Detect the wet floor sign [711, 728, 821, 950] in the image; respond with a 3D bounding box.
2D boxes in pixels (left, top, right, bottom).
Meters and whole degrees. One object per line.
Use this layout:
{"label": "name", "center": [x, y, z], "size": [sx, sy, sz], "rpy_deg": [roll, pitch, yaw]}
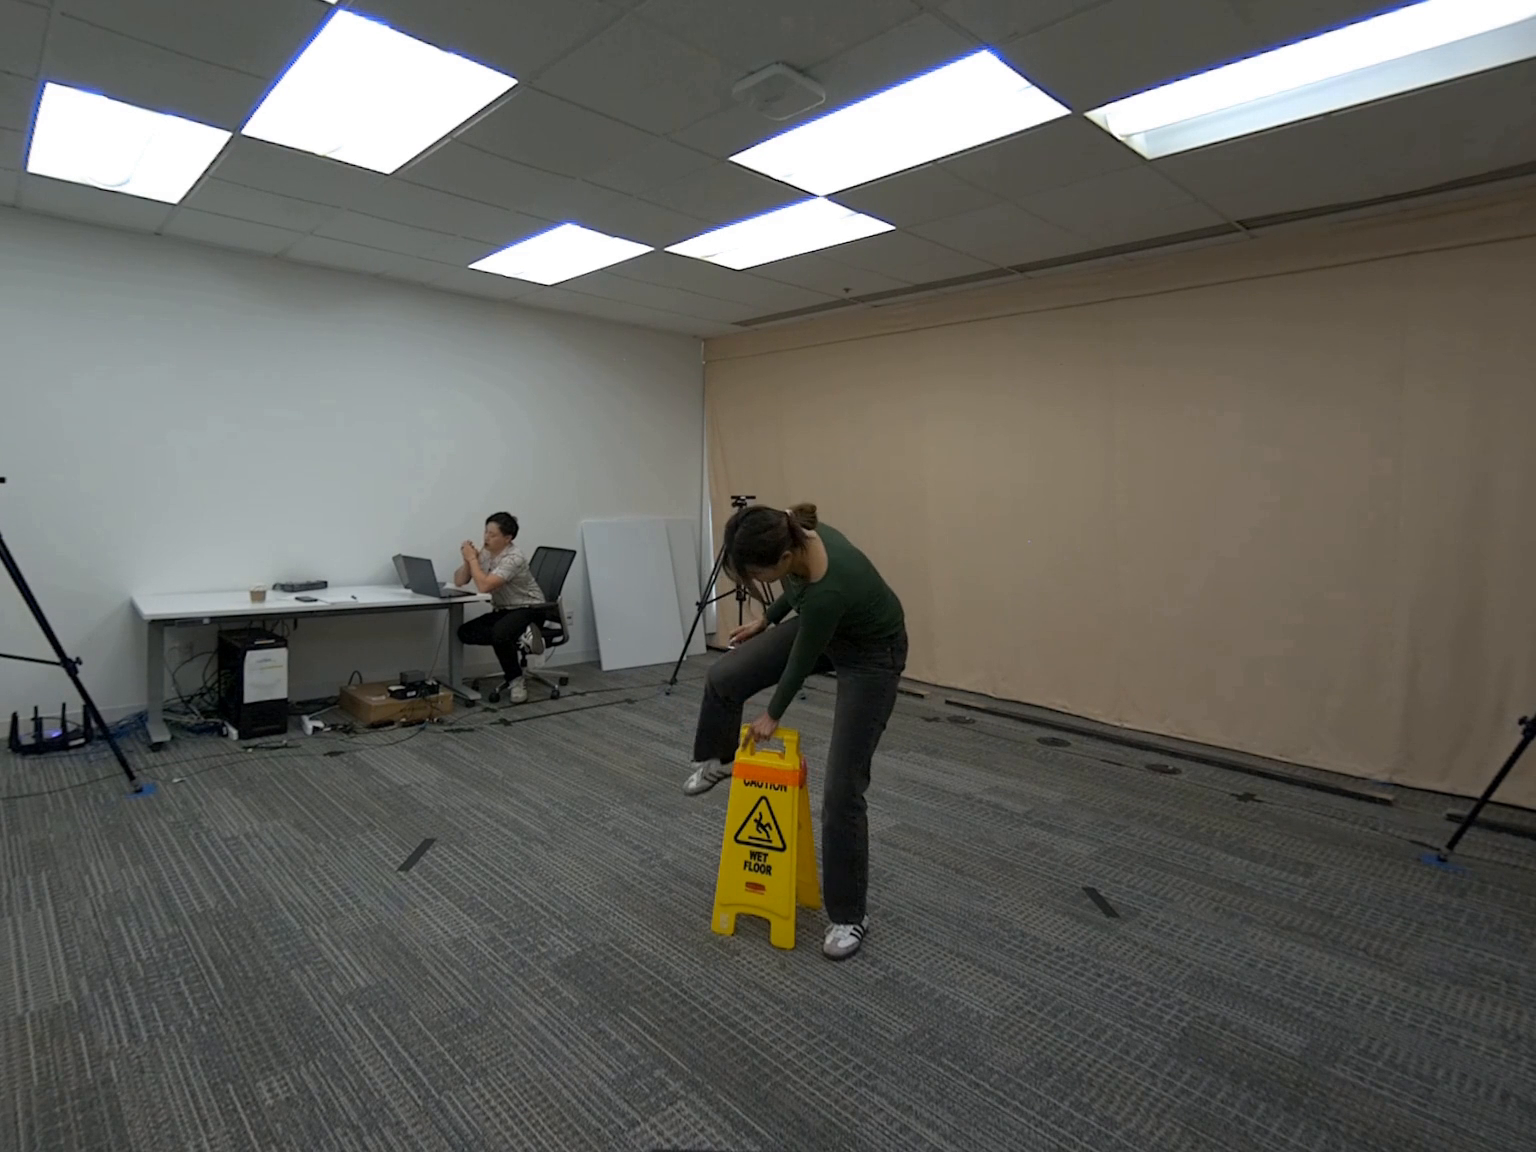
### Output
{"label": "wet floor sign", "center": [-0.001, 0.812, 2.765], "size": [0.287, 0.645, 0.285], "rpy_deg": [3, 3, 21]}
